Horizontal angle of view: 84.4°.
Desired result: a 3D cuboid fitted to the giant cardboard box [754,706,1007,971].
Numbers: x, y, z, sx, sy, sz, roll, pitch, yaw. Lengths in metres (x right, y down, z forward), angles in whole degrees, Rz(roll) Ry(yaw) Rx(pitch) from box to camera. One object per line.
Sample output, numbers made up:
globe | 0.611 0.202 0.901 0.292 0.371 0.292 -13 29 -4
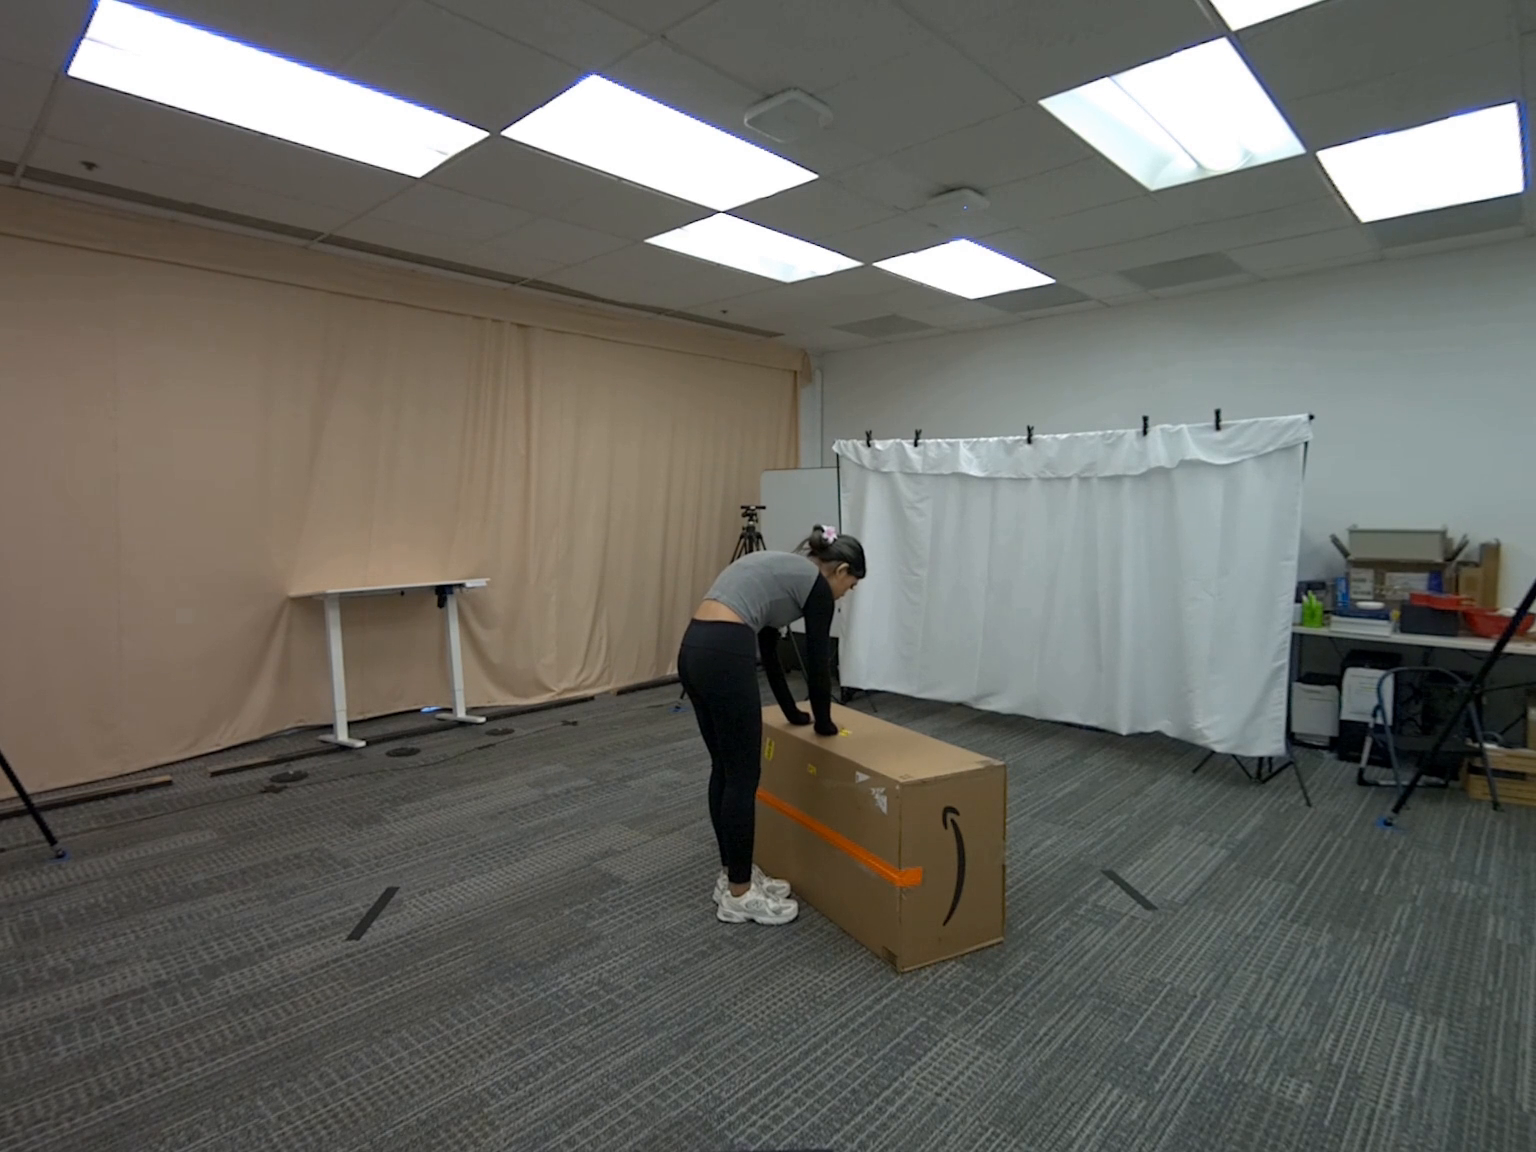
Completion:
giant cardboard box | 0.320 0.851 3.033 0.415 0.576 1.055 -2 4 -29
